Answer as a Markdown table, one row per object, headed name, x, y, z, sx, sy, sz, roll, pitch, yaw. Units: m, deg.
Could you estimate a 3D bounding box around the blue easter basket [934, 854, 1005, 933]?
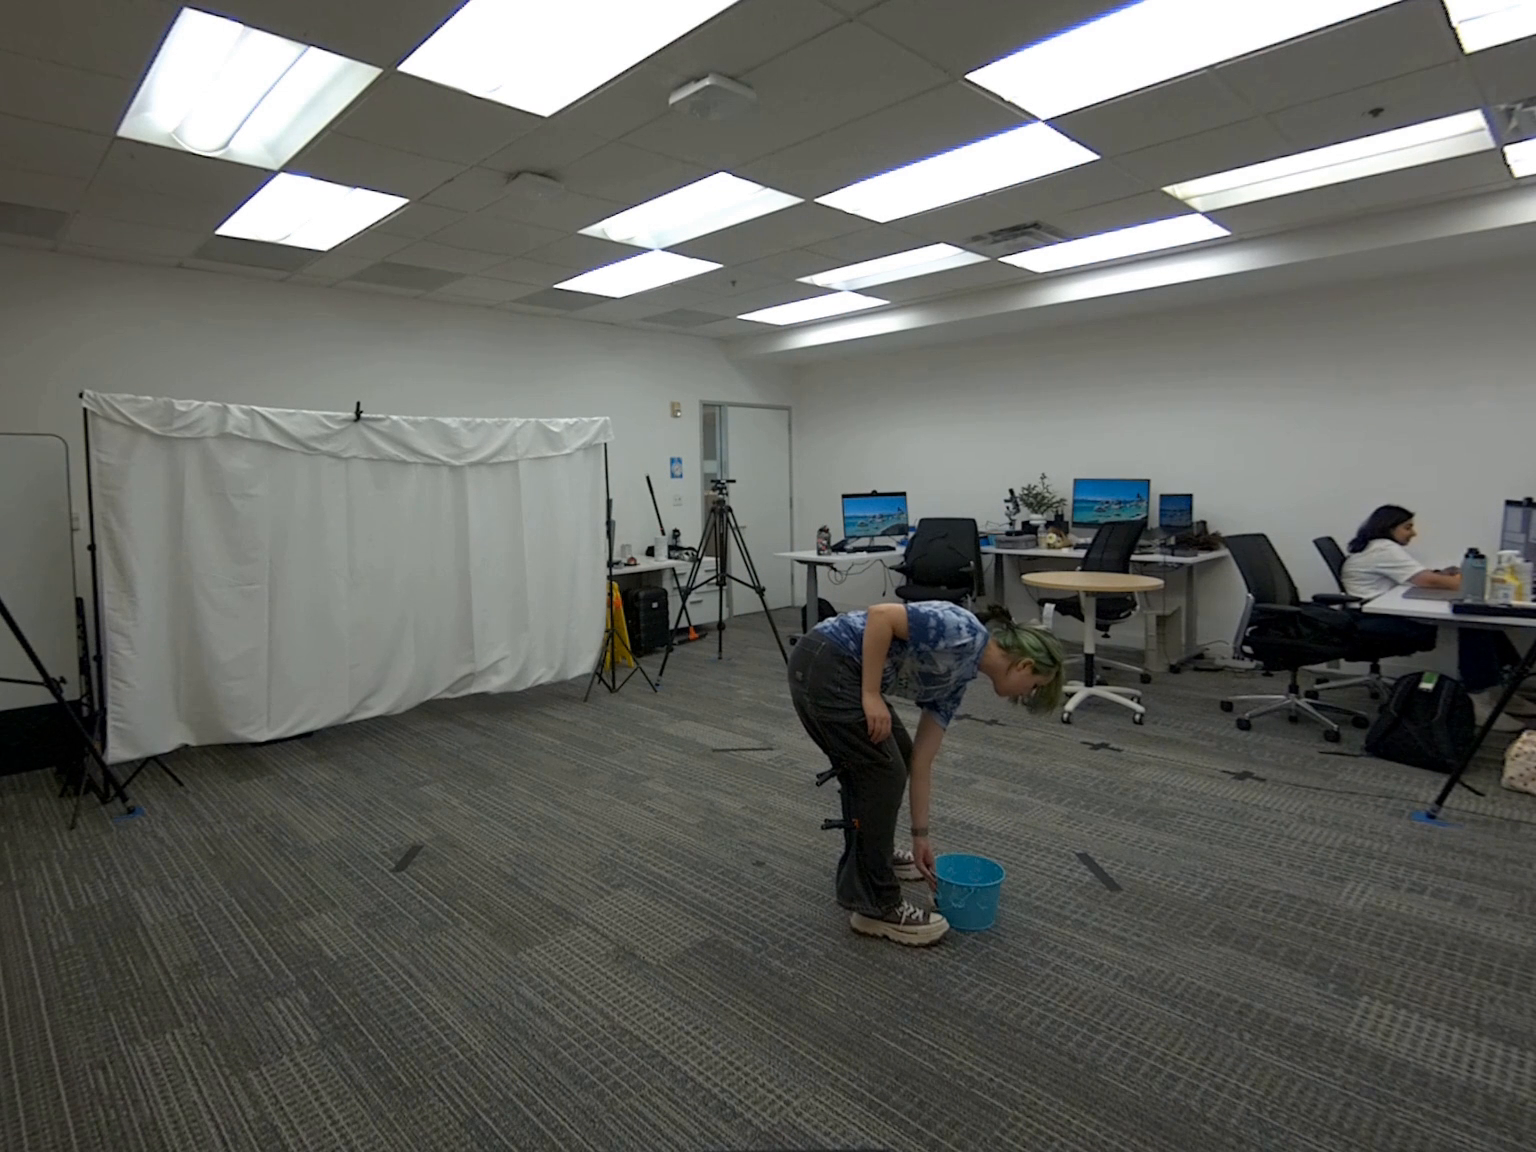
| name | x | y | z | sx | sy | sz | roll | pitch | yaw |
| --- | --- | --- | --- | --- | --- | --- | --- | --- | --- |
| blue easter basket | 0.639 | 1.002 | 2.717 | 0.243 | 0.155 | 0.244 | 0 | 4 | -2 |
